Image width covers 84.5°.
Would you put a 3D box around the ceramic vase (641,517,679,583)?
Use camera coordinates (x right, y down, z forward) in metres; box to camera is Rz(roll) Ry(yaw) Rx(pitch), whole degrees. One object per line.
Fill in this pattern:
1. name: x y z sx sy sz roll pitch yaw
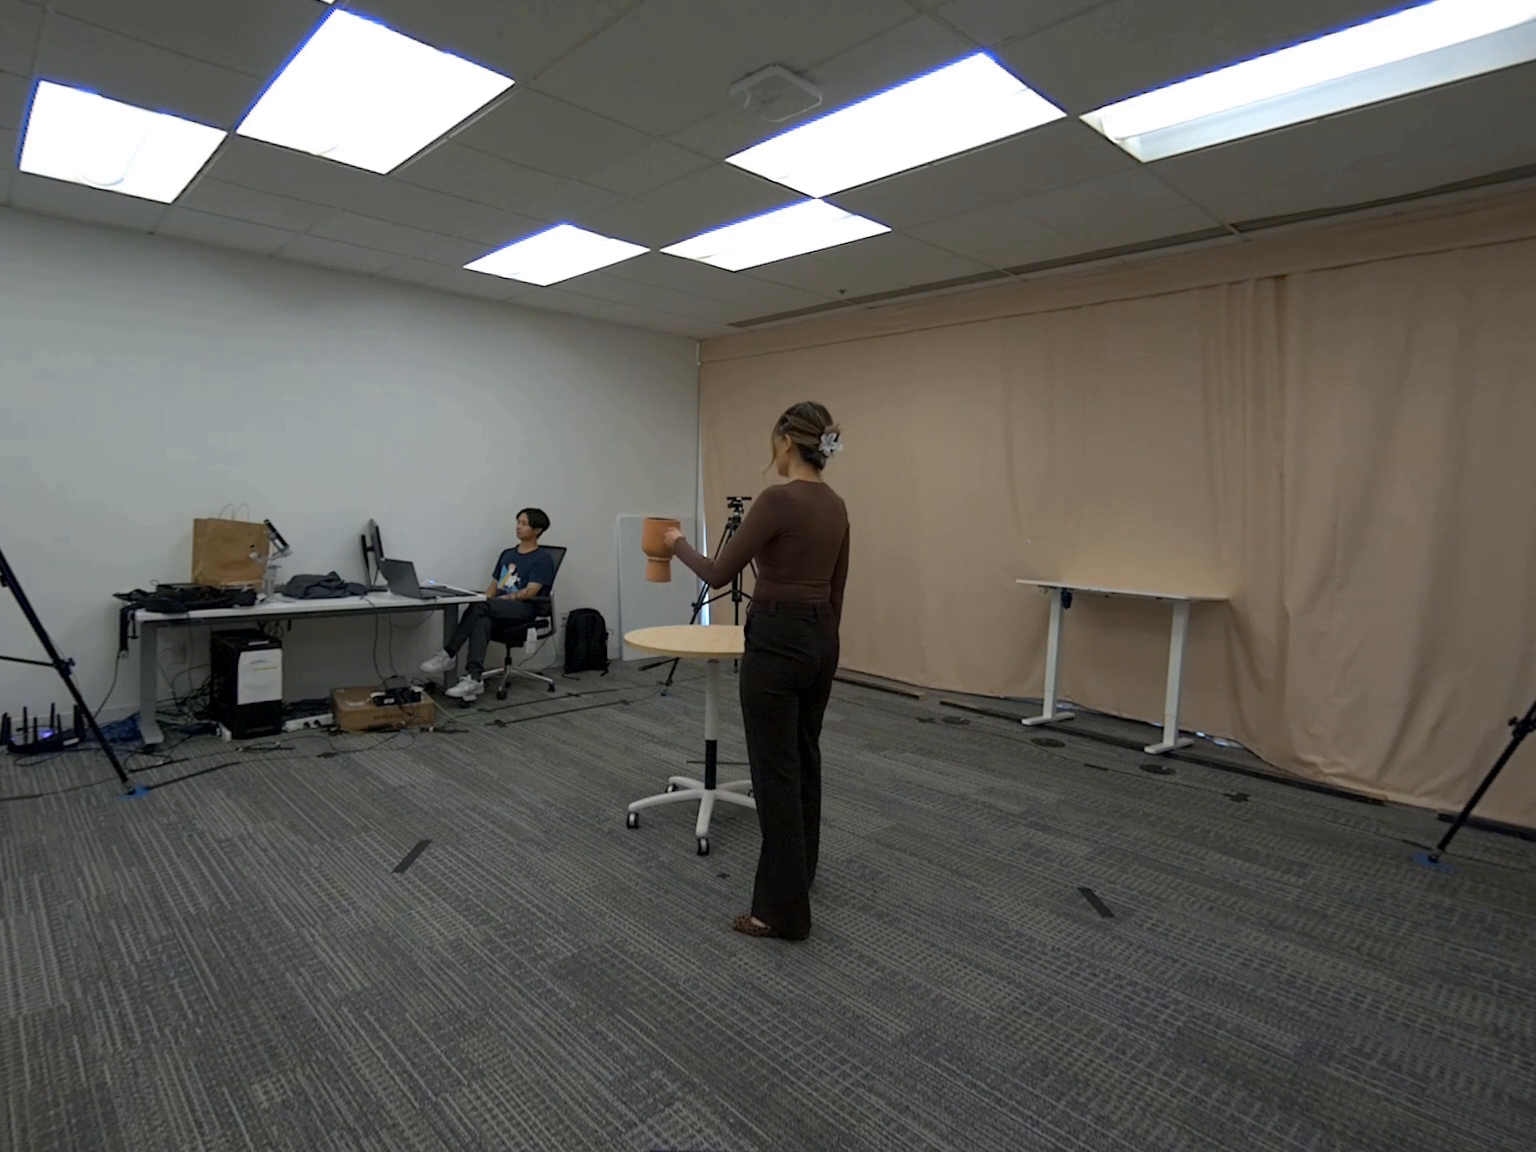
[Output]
1. ceramic vase: -0.389 -0.094 2.985 0.135 0.218 0.158 5 8 6
